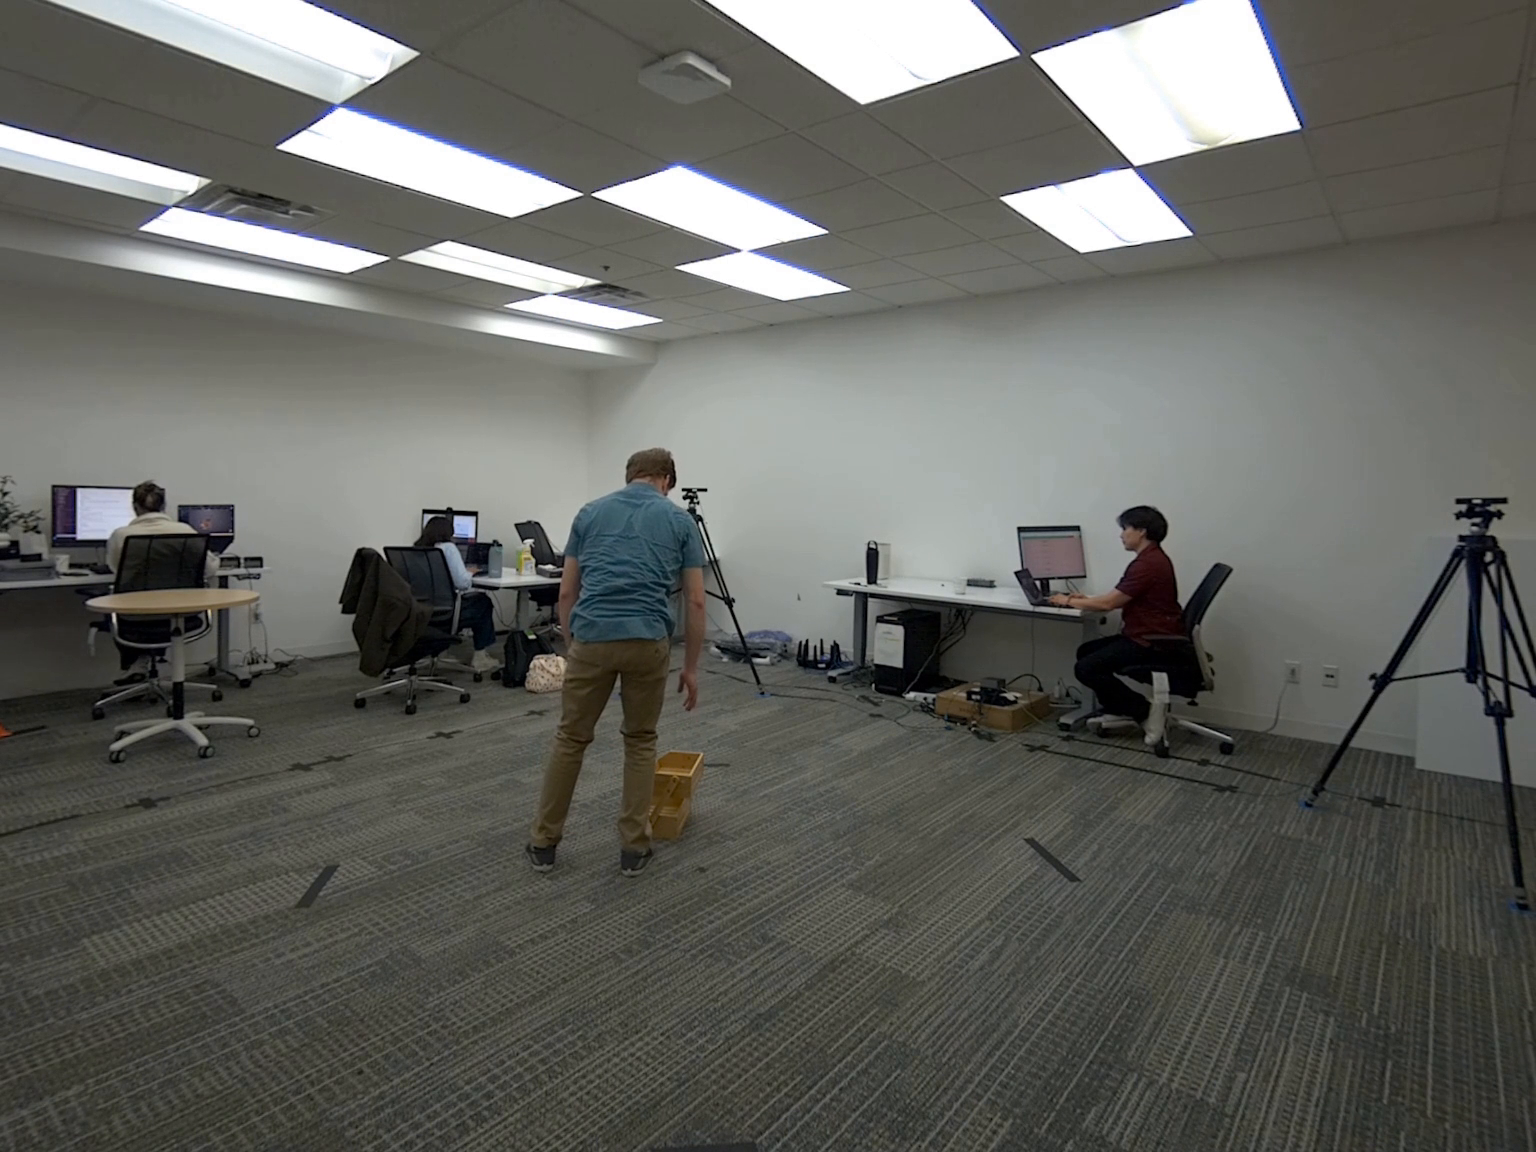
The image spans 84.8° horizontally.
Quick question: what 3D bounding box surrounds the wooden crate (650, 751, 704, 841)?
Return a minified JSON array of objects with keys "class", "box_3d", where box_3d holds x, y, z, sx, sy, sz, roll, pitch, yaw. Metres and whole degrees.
[{"class":"wooden crate","box_3d":[-0.460,0.893,3.530,0.304,0.272,0.323,1,5,7]}]
